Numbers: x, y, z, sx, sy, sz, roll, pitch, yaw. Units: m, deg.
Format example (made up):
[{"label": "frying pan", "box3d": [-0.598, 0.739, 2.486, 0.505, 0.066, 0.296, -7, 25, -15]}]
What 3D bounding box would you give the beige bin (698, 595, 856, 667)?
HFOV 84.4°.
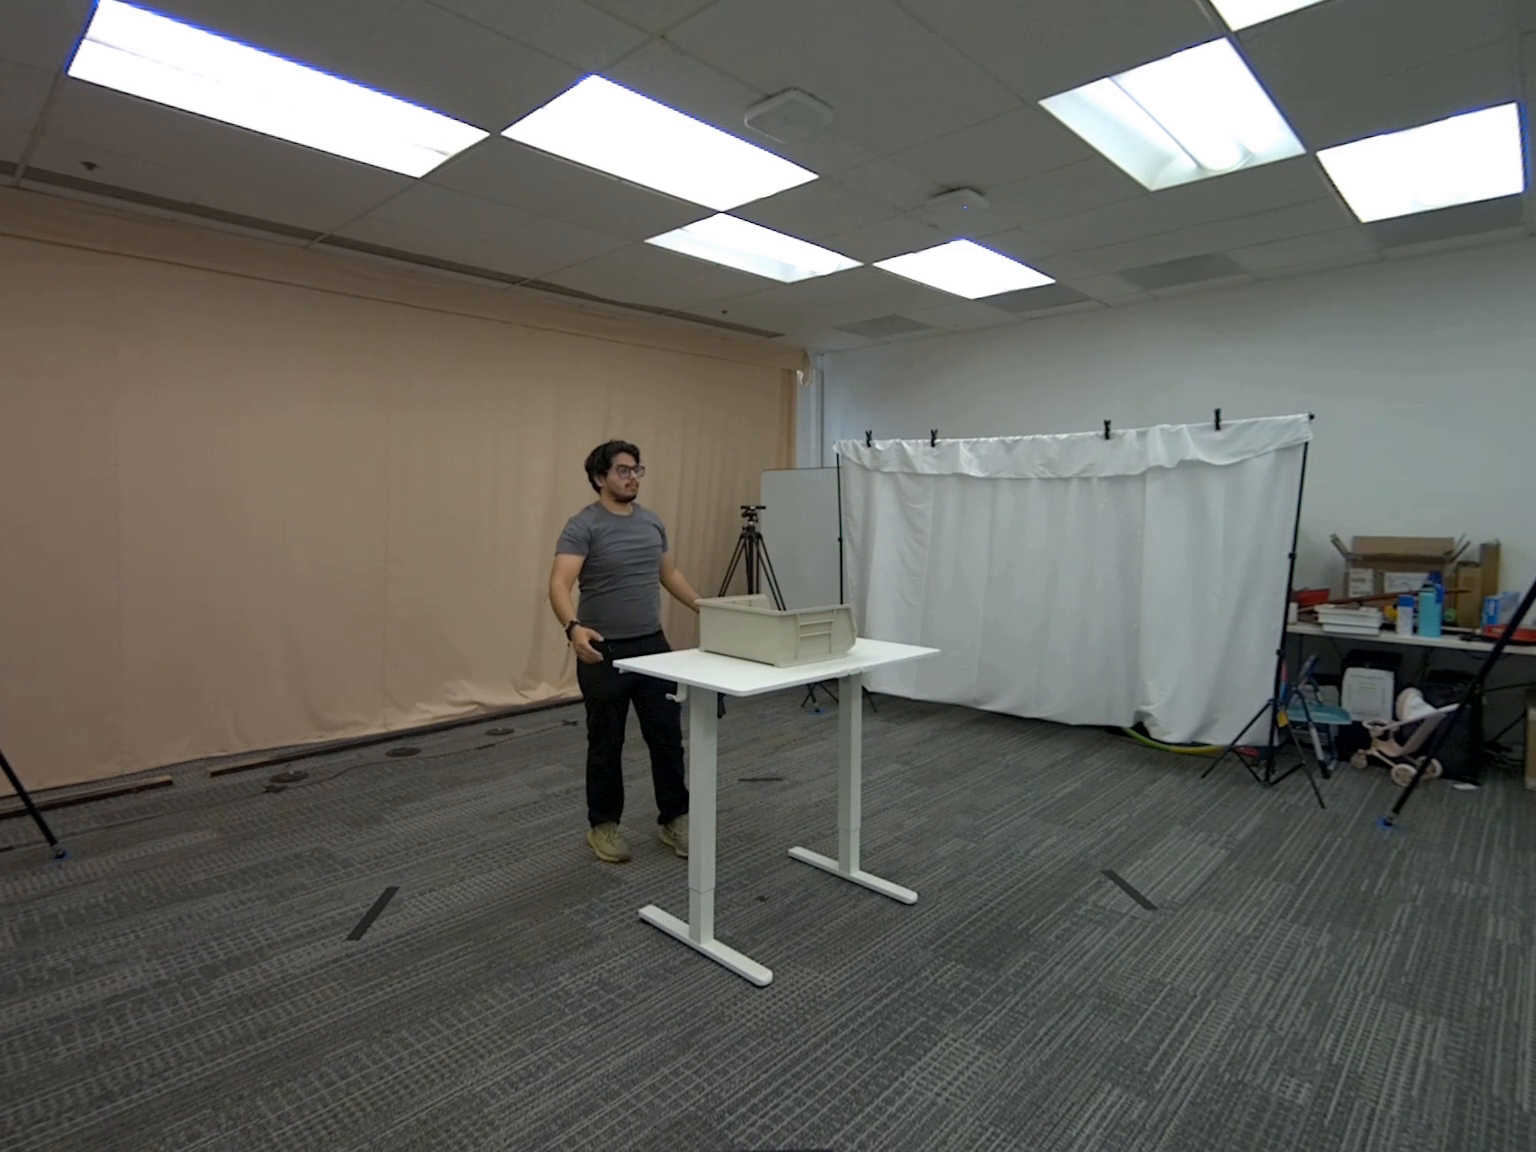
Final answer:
[{"label": "beige bin", "box3d": [0.024, 0.179, 2.894, 0.366, 0.188, 0.436, -5, 7, -42]}]
